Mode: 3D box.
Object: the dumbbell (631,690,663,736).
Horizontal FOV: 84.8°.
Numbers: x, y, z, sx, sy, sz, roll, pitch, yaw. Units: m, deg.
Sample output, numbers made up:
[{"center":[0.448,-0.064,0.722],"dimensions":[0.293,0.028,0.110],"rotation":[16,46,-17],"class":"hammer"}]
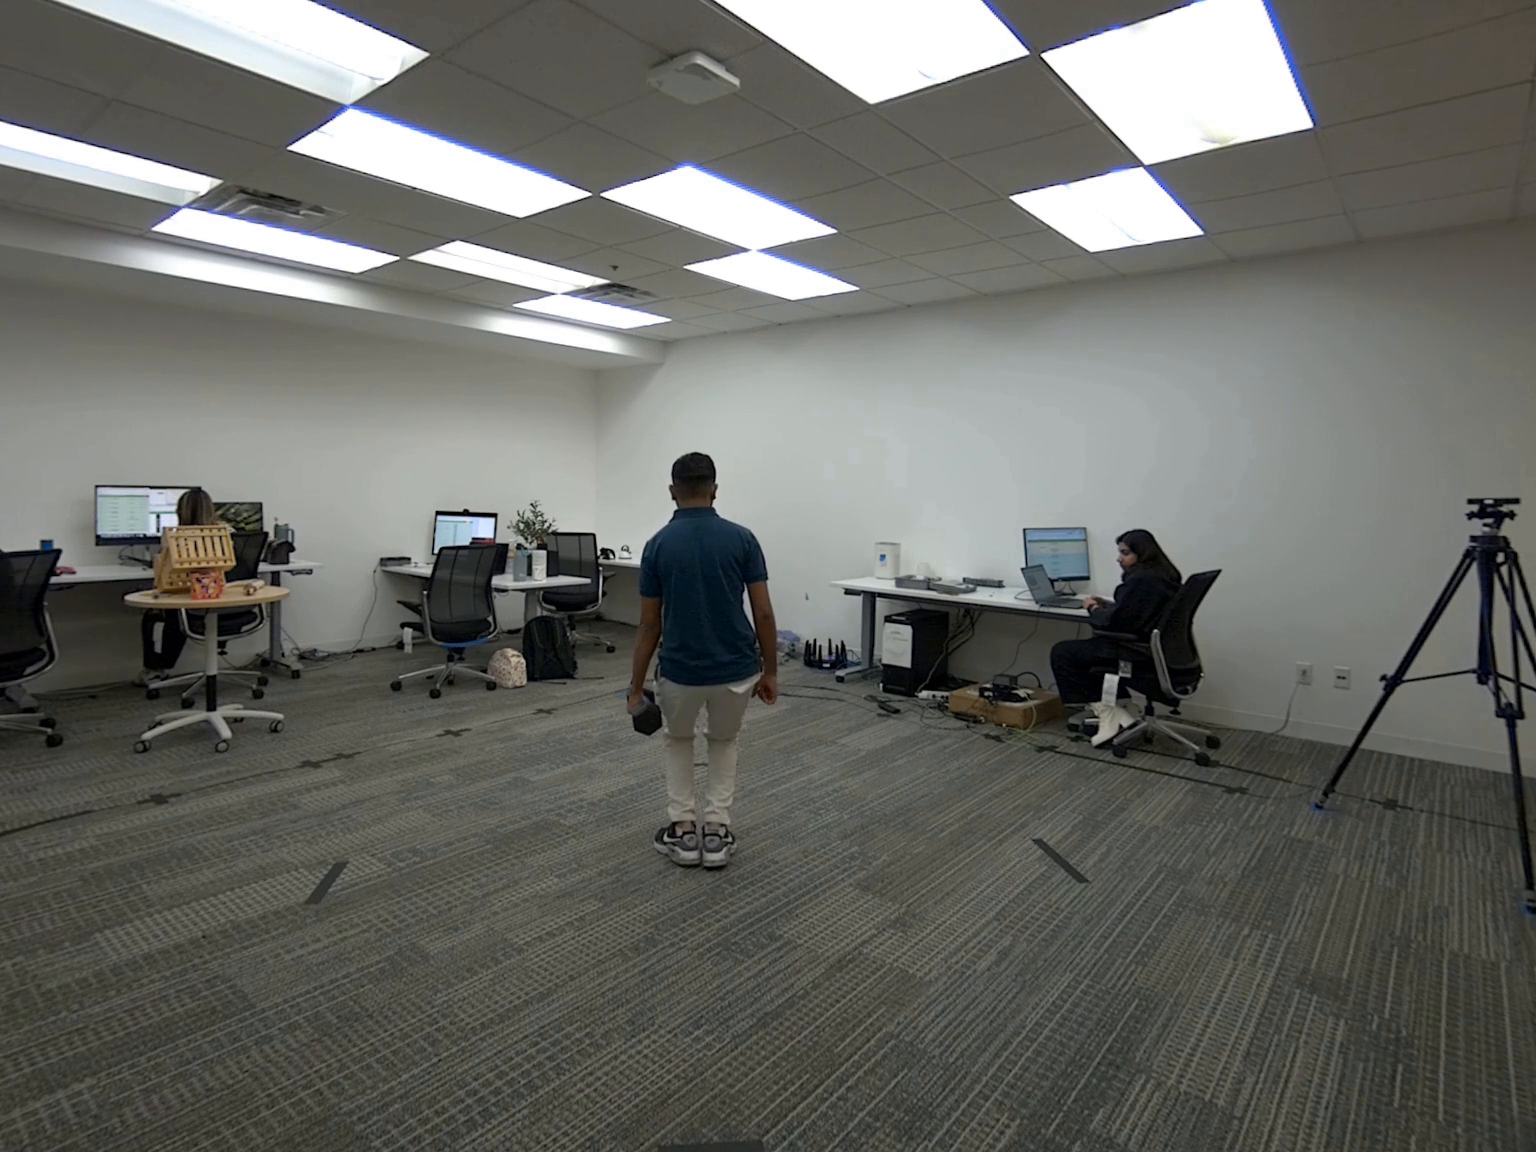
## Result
[{"center":[-0.492,0.505,3.290],"dimensions":[0.107,0.122,0.300],"rotation":[-7,12,-13],"class":"dumbbell"}]
